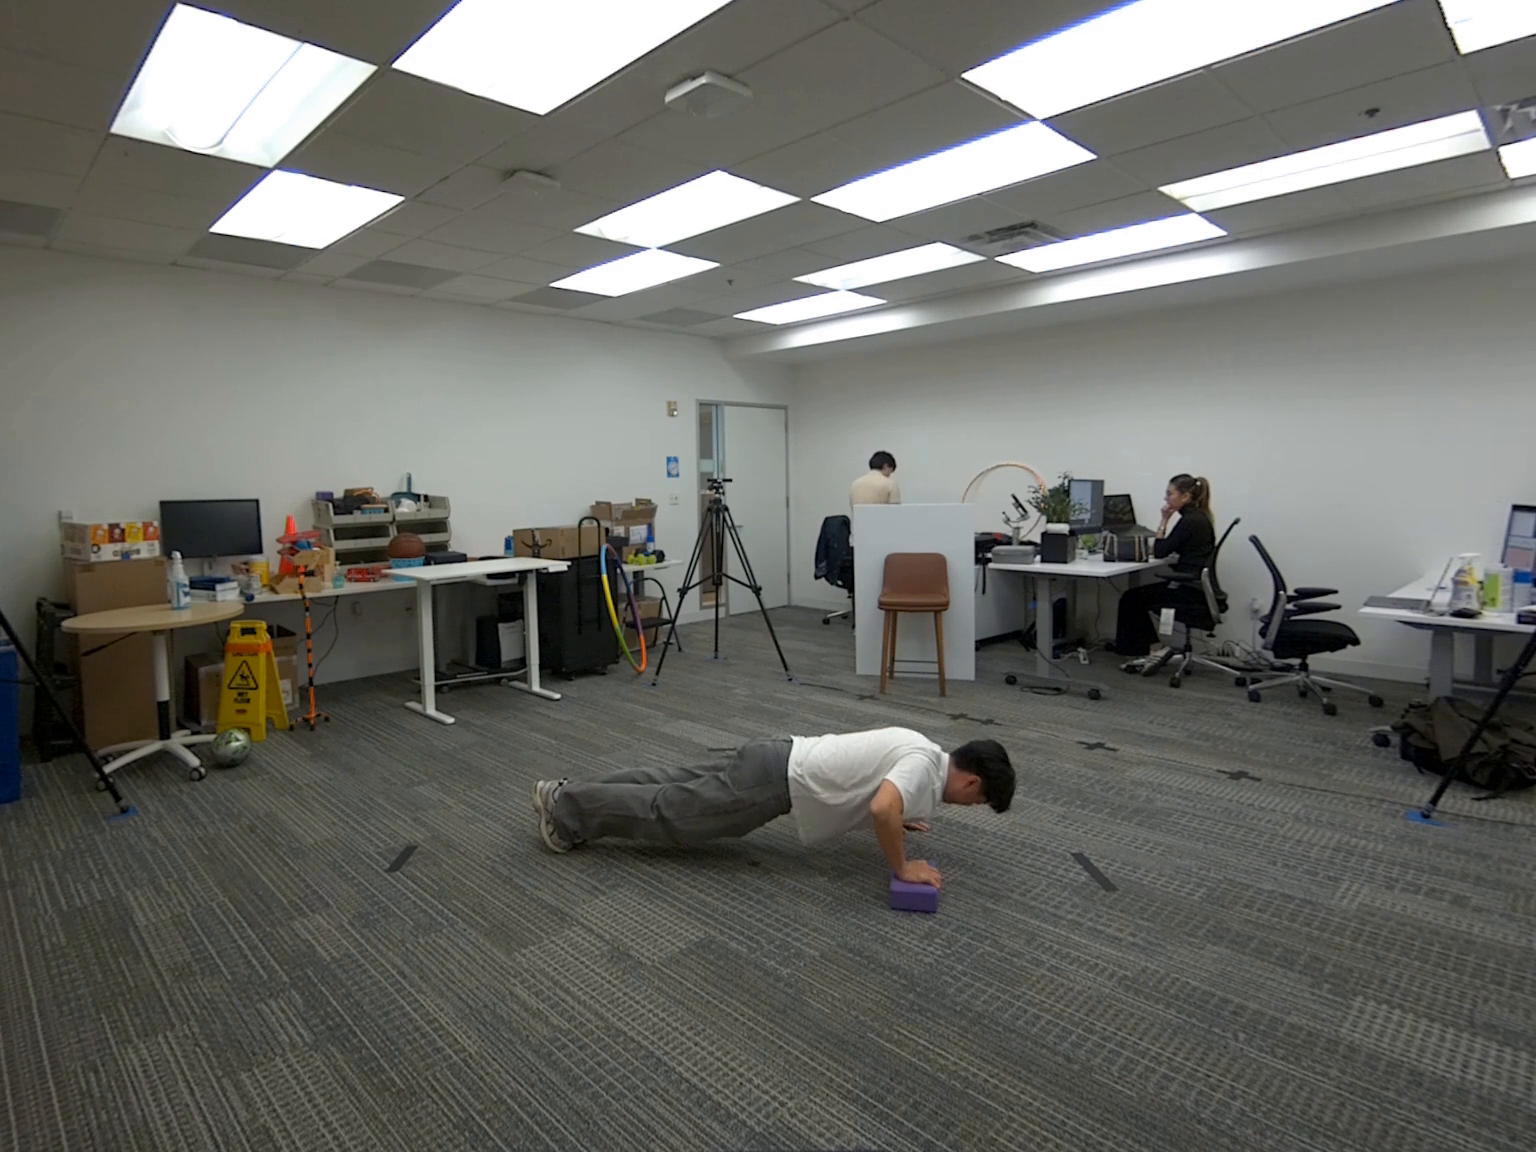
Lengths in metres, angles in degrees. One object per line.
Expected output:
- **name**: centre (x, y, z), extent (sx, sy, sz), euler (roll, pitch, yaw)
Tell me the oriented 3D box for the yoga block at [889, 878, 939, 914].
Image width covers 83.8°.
- **yoga block**: centre (0.493, 1.035, 2.844), extent (0.151, 0.076, 0.227), euler (-1, 5, 14)
